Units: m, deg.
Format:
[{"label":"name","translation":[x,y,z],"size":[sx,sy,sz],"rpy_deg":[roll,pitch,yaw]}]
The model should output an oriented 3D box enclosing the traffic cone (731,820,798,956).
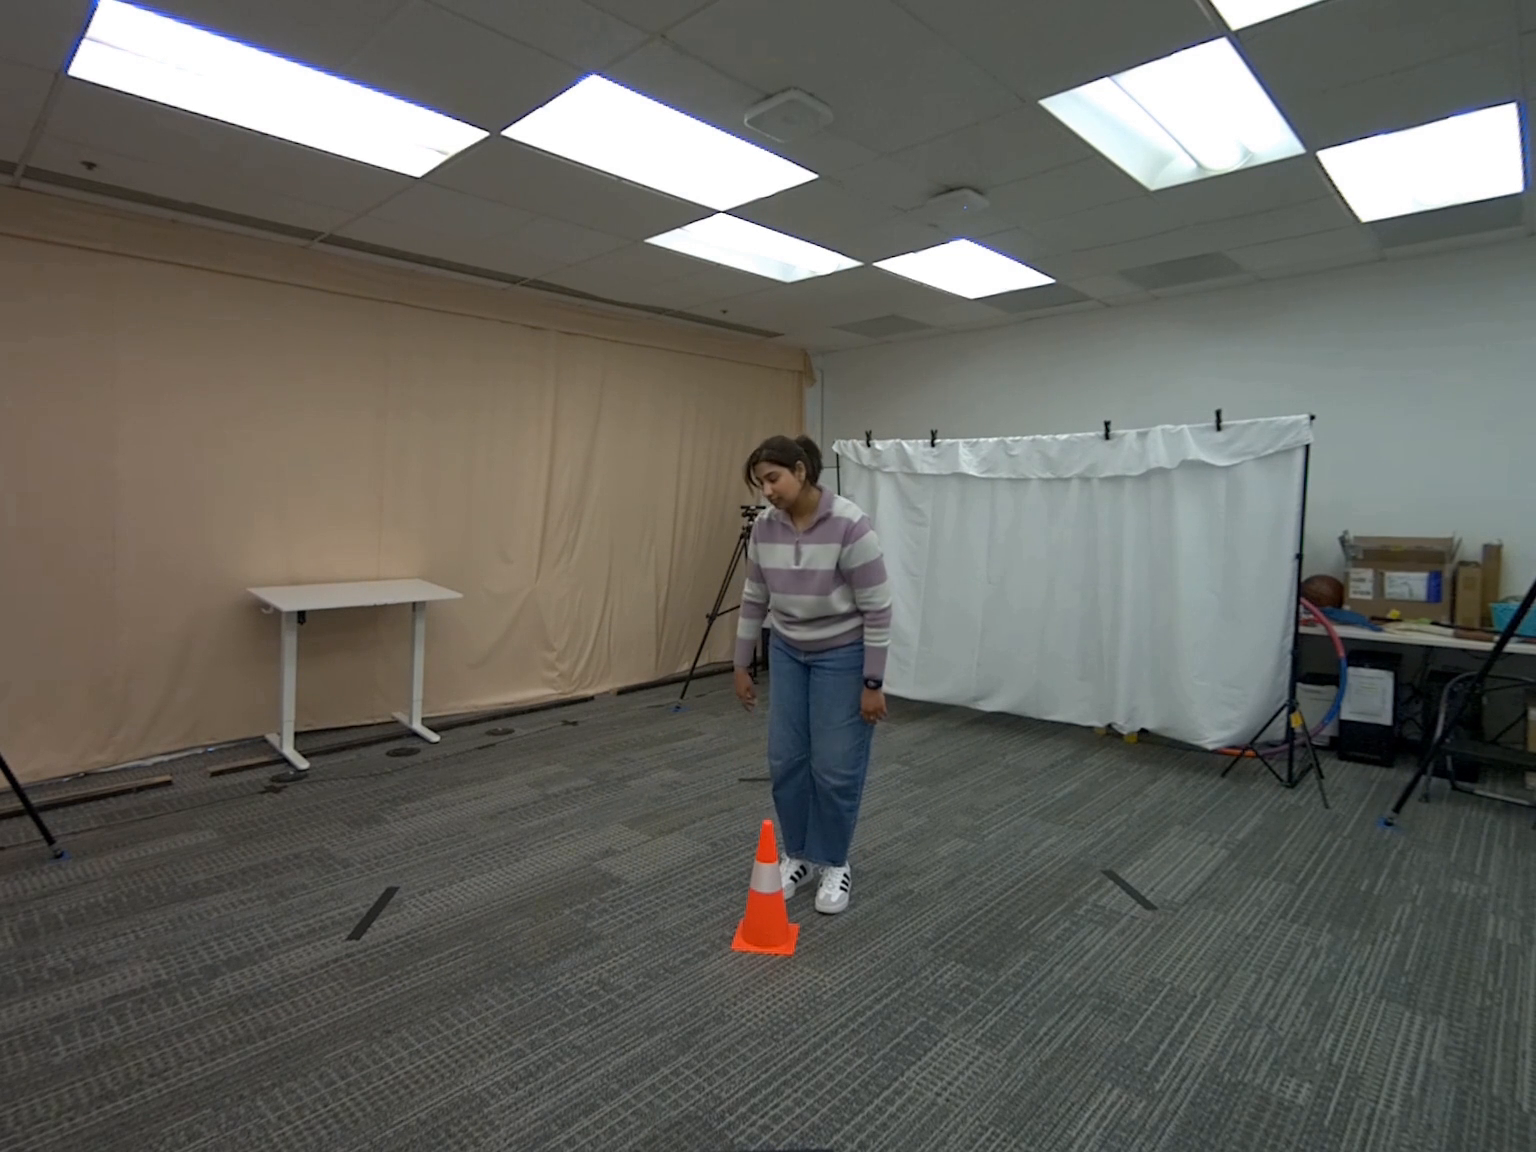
[{"label":"traffic cone","translation":[0.001,0.981,2.710],"size":[0.208,0.383,0.201],"rpy_deg":[2,3,11]}]
